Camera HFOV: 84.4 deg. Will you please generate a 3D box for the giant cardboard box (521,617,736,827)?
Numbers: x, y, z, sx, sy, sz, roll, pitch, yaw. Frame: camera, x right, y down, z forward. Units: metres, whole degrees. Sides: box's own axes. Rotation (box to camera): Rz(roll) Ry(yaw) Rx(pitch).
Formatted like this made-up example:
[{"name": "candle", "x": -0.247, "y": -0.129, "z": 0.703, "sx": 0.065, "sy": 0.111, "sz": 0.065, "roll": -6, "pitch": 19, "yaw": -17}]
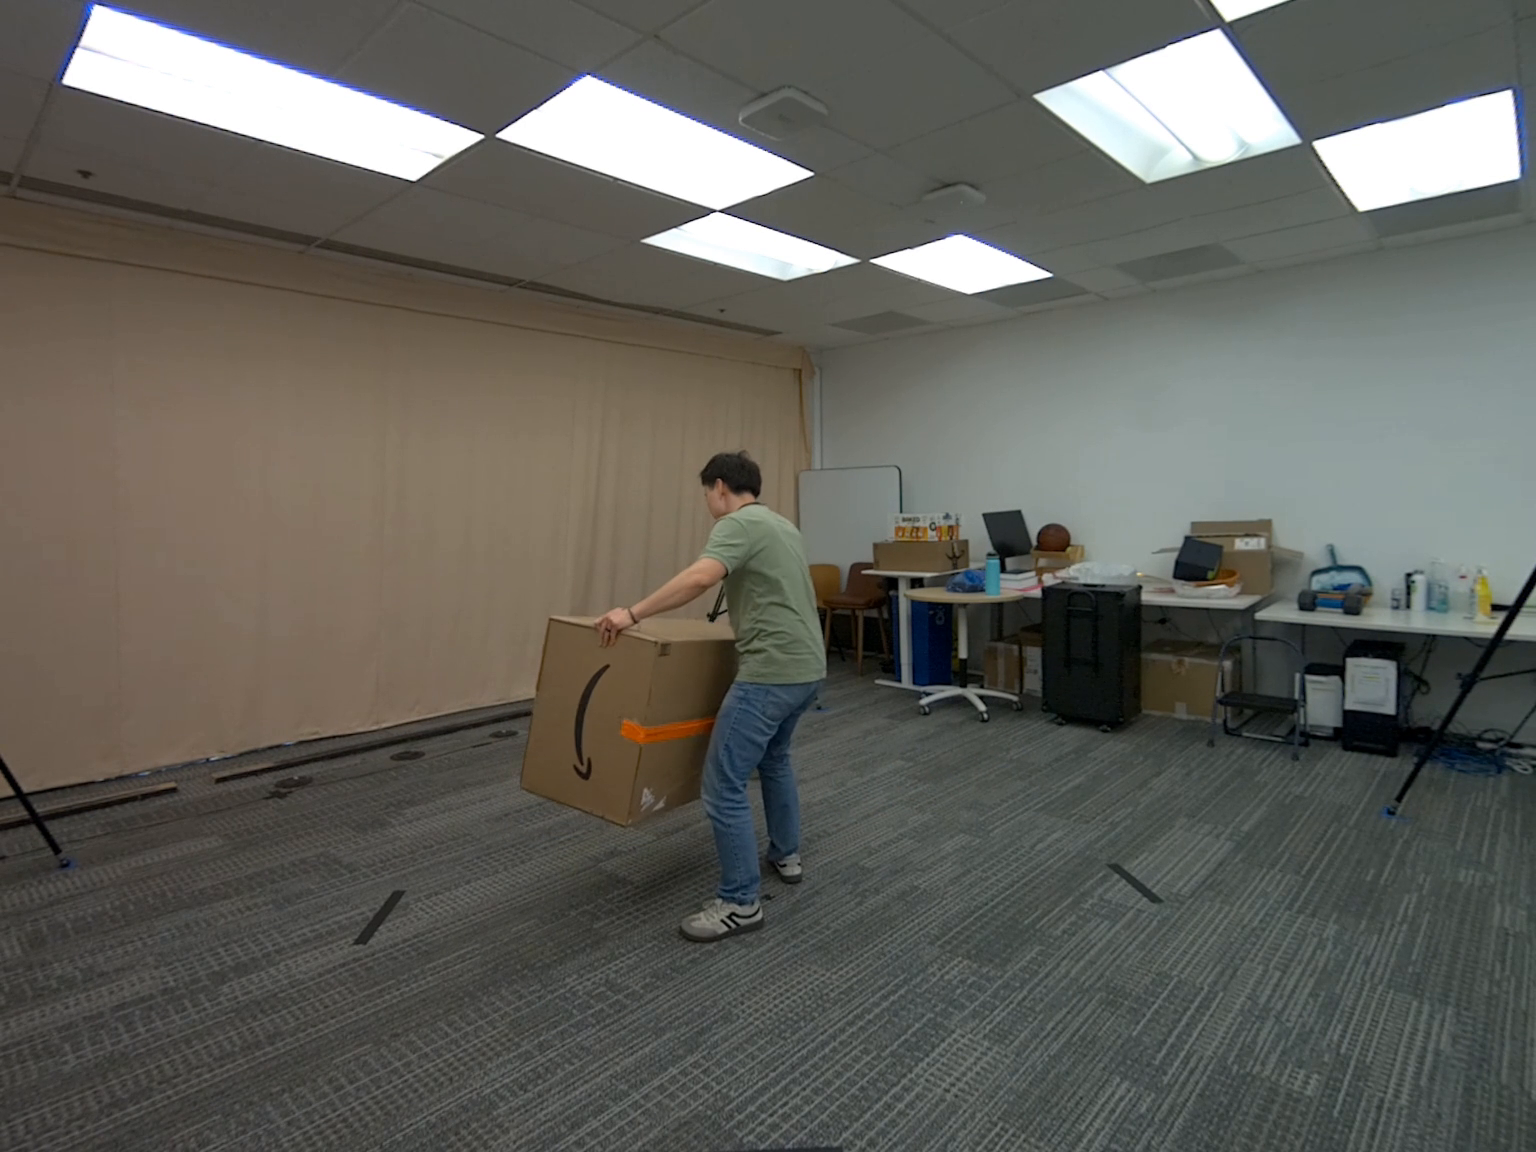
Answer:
[{"name": "giant cardboard box", "x": -0.368, "y": 0.466, "z": 3.089, "sx": 0.438, "sy": 0.577, "sz": 0.998, "roll": 10, "pitch": 0, "yaw": 24}]
